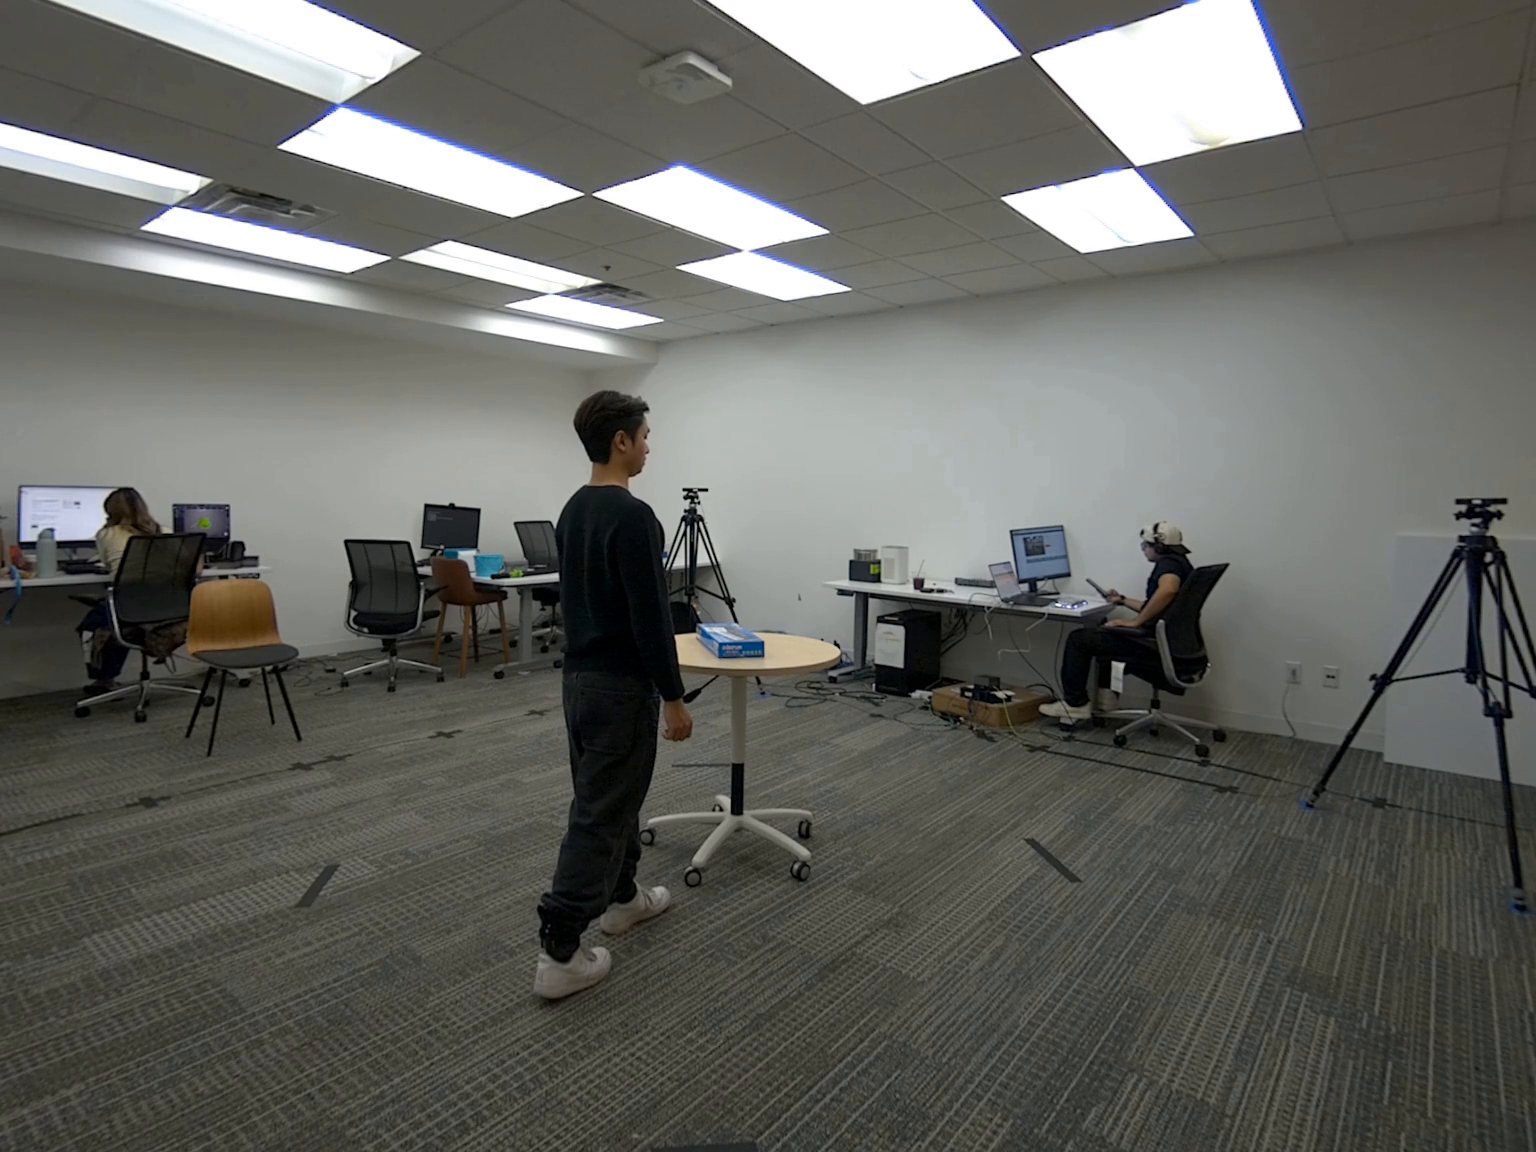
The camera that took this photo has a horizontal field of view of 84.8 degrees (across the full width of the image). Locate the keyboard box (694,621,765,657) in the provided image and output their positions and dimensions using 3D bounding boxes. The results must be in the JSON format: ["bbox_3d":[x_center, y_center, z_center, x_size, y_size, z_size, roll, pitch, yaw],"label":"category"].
[{"bbox_3d":[-0.160,0.239,3.276,0.173,0.059,0.445,-2,6,-15],"label":"keyboard box"}]
